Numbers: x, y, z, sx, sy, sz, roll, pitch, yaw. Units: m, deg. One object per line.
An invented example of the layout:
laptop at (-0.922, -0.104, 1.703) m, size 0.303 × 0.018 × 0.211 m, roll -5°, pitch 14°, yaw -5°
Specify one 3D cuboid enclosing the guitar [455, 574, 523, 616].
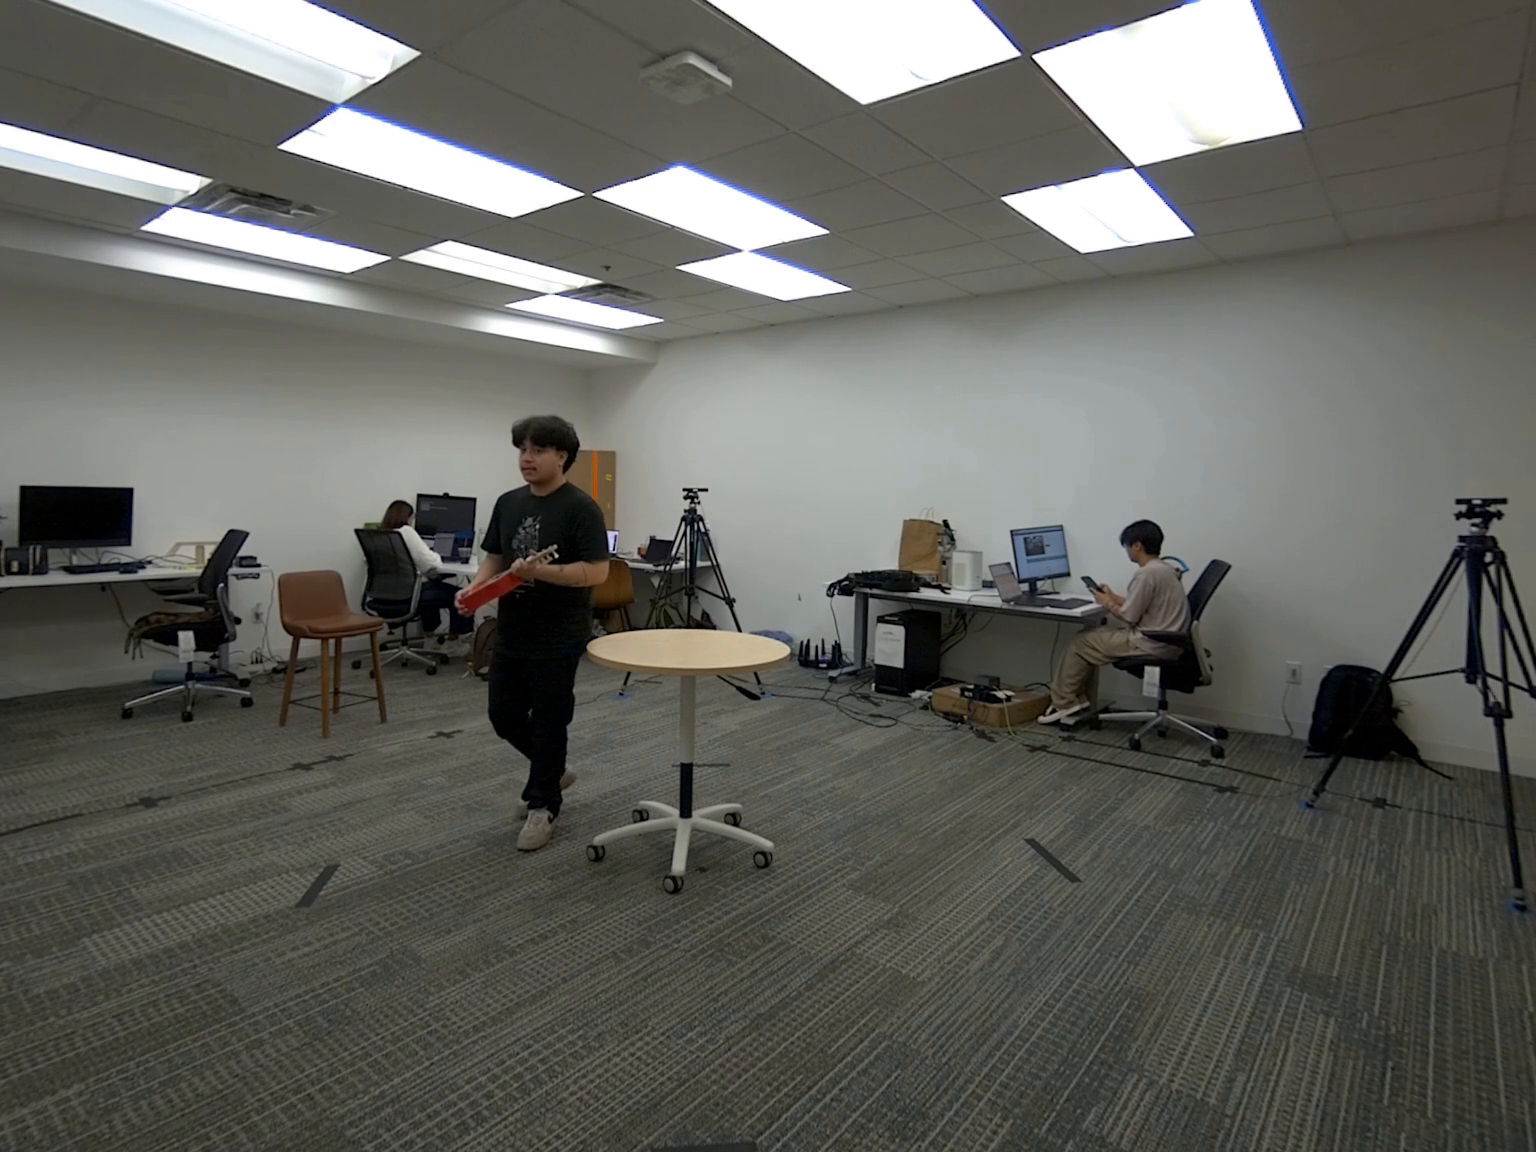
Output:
guitar at (-0.966, 0.008, 3.094) m, size 0.507 × 0.069 × 0.192 m, roll -19°, pitch 19°, yaw 41°
